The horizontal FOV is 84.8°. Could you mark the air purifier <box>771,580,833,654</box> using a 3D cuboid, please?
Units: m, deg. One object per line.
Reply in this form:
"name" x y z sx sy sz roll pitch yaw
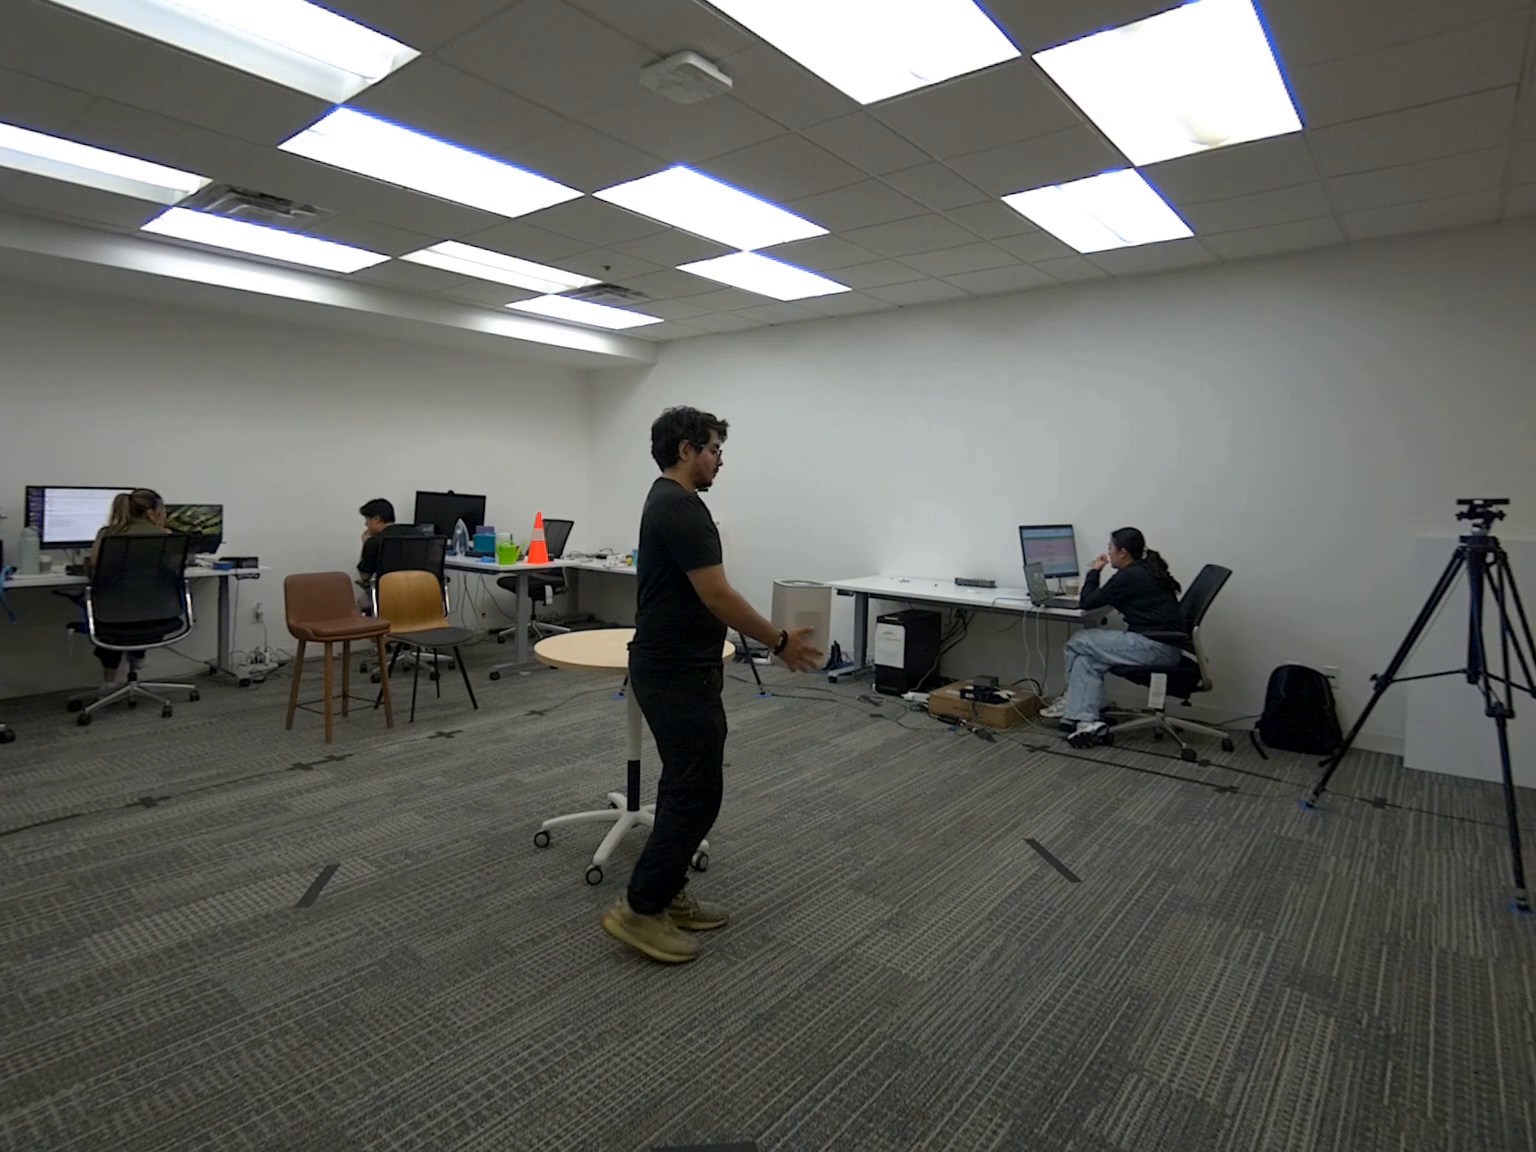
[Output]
"air purifier" 0.090 0.153 2.698 0.169 0.265 0.174 2 3 -16
